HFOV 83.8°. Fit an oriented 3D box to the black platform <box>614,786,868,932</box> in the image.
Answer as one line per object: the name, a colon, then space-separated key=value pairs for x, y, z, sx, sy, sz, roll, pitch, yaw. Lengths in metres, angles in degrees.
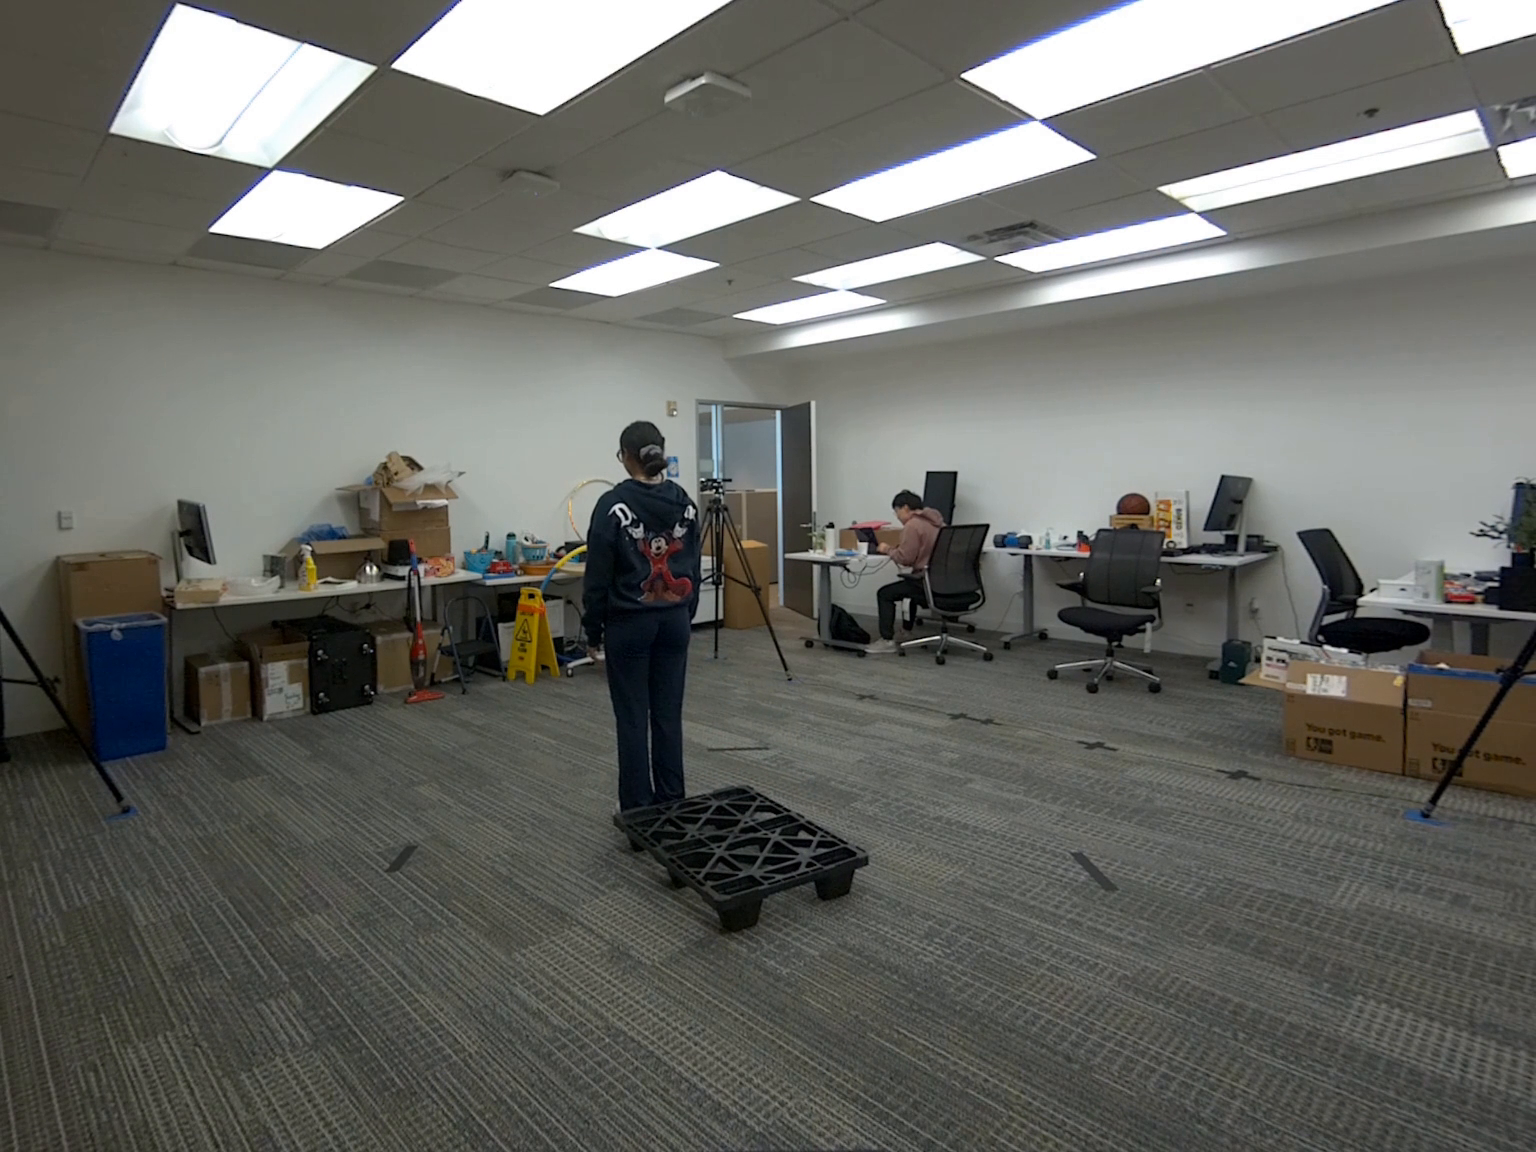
black platform: x=-0.119 y=0.986 z=3.047 sx=0.591 sy=0.142 sz=0.829 roll=-6 pitch=8 yaw=-32
